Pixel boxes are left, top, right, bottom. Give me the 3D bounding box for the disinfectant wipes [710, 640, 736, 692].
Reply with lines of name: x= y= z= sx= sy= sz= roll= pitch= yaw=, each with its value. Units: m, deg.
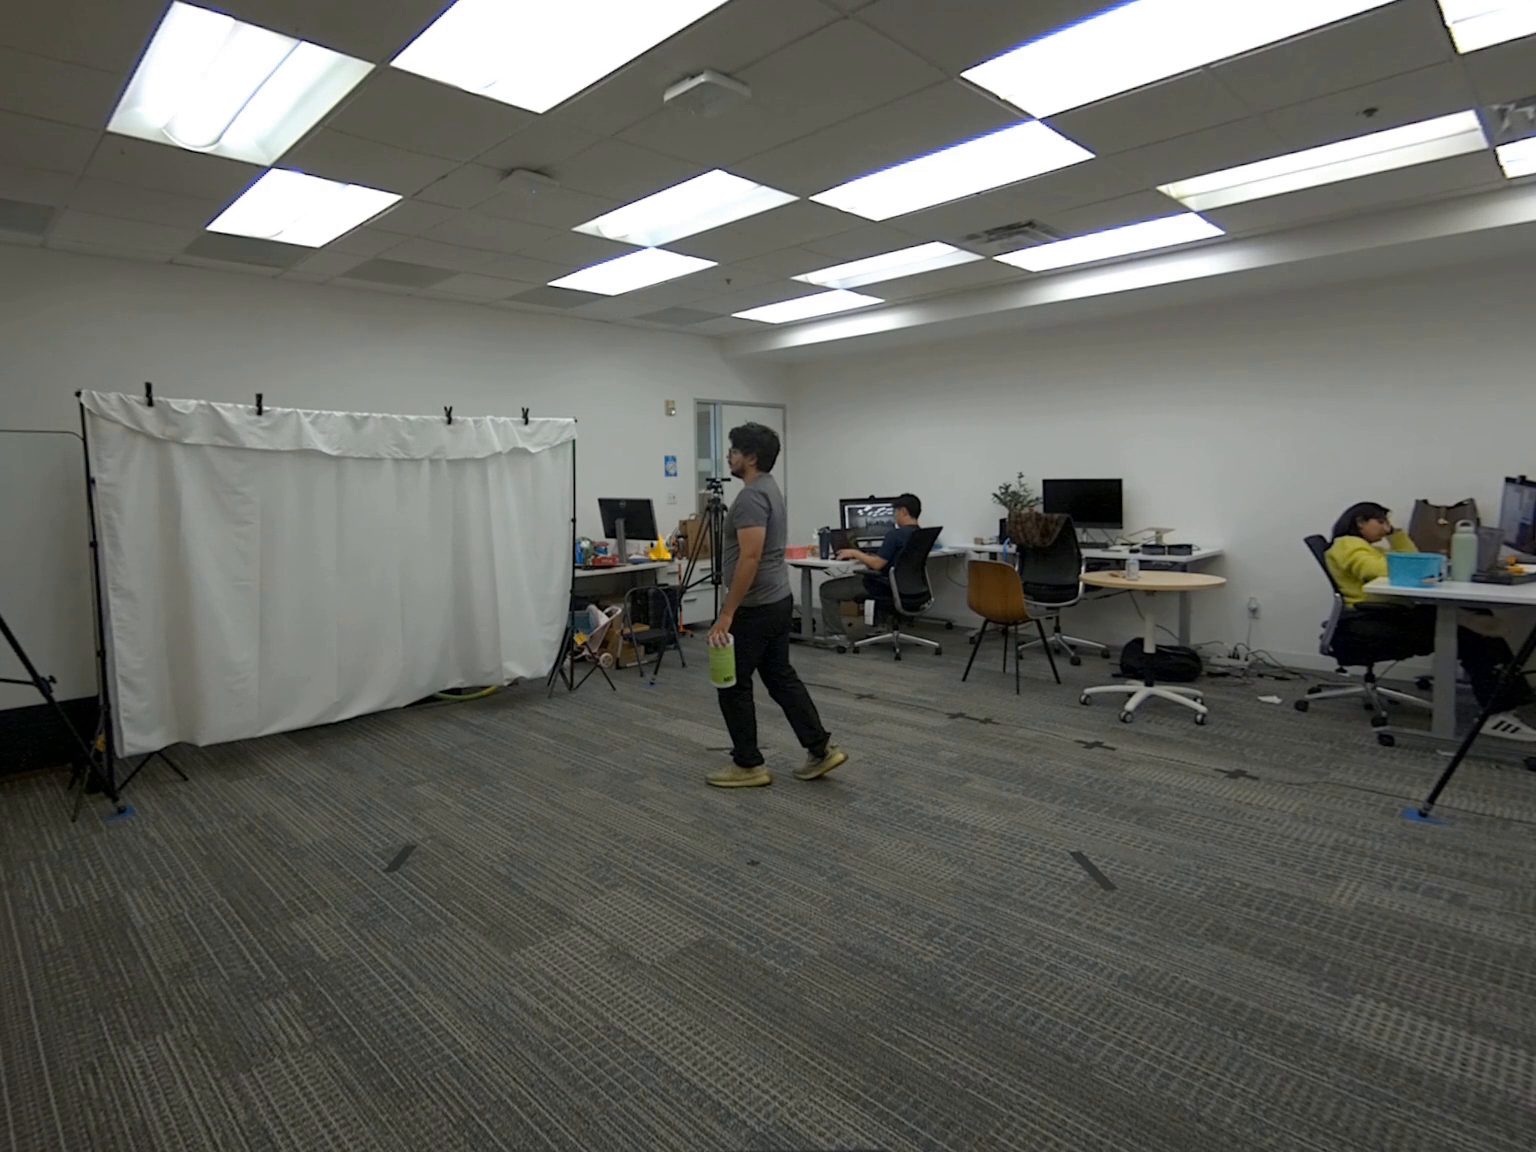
disinfectant wipes: x=-0.189 y=0.366 z=3.673 sx=0.118 sy=0.214 sz=0.119 roll=-1 pitch=15 yaw=-2
